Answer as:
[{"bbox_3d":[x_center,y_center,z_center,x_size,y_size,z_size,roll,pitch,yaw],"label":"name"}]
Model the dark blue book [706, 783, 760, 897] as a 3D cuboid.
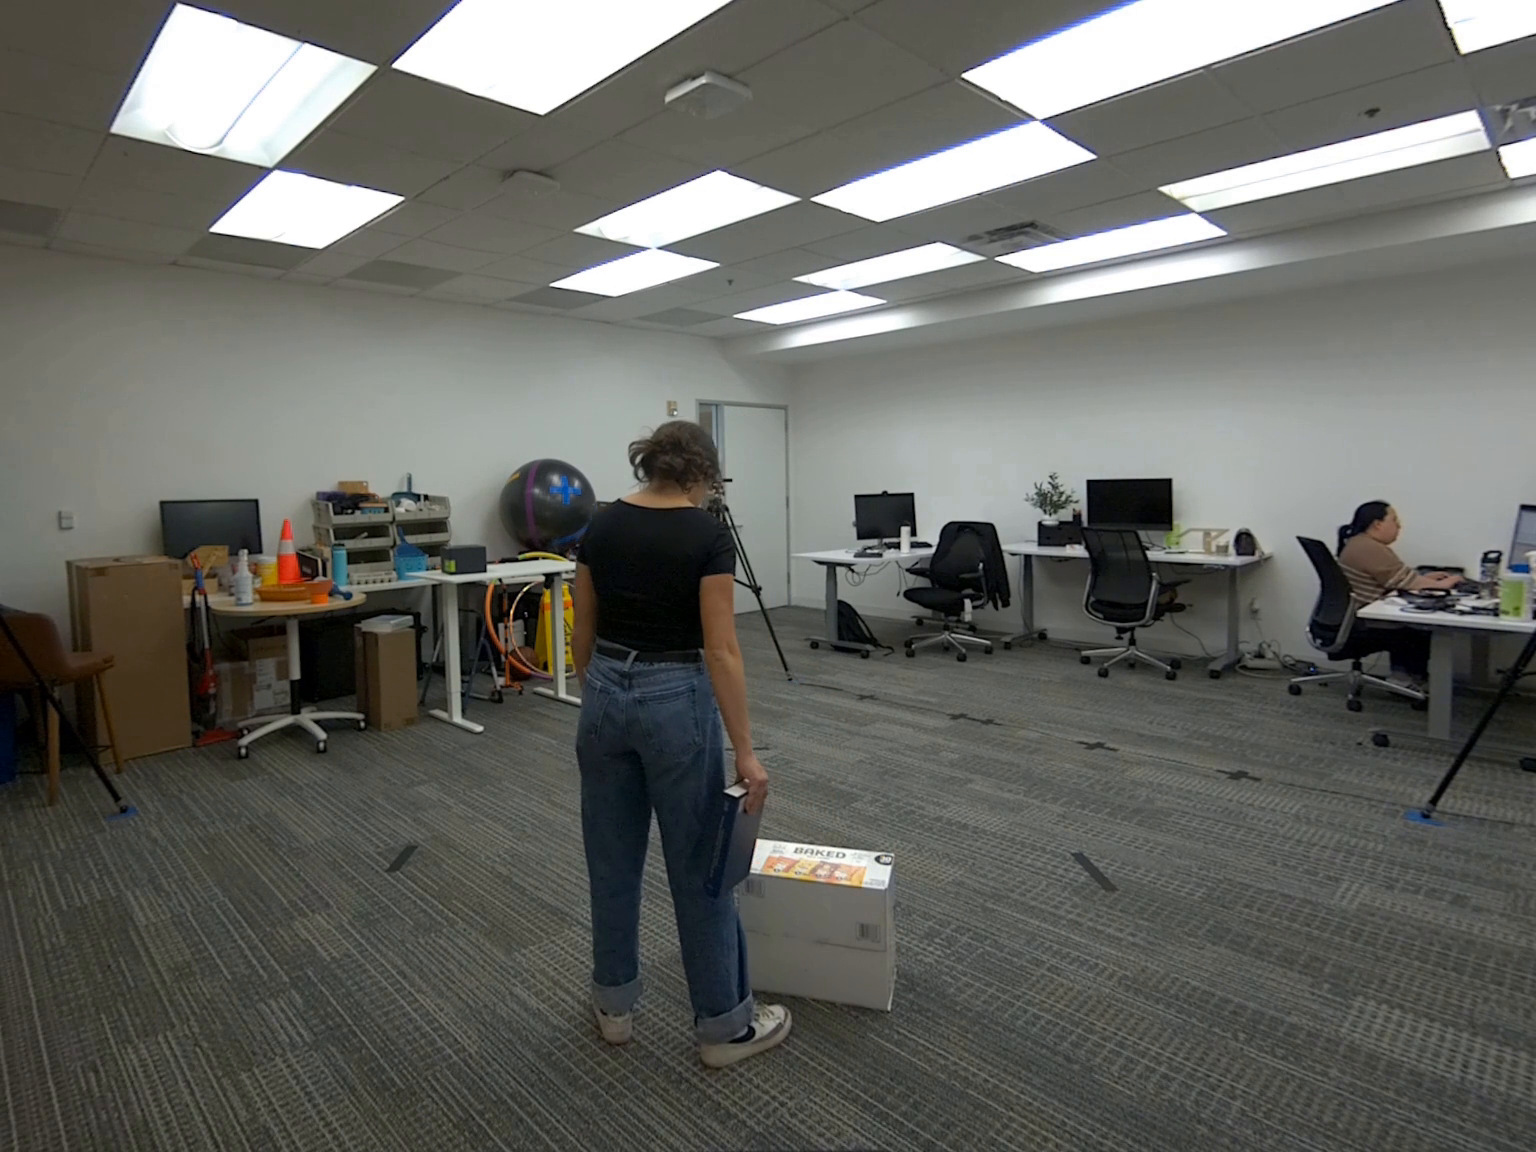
[{"bbox_3d":[-0.068,0.597,1.977,0.046,0.244,0.160,13,7,23],"label":"dark blue book"}]
